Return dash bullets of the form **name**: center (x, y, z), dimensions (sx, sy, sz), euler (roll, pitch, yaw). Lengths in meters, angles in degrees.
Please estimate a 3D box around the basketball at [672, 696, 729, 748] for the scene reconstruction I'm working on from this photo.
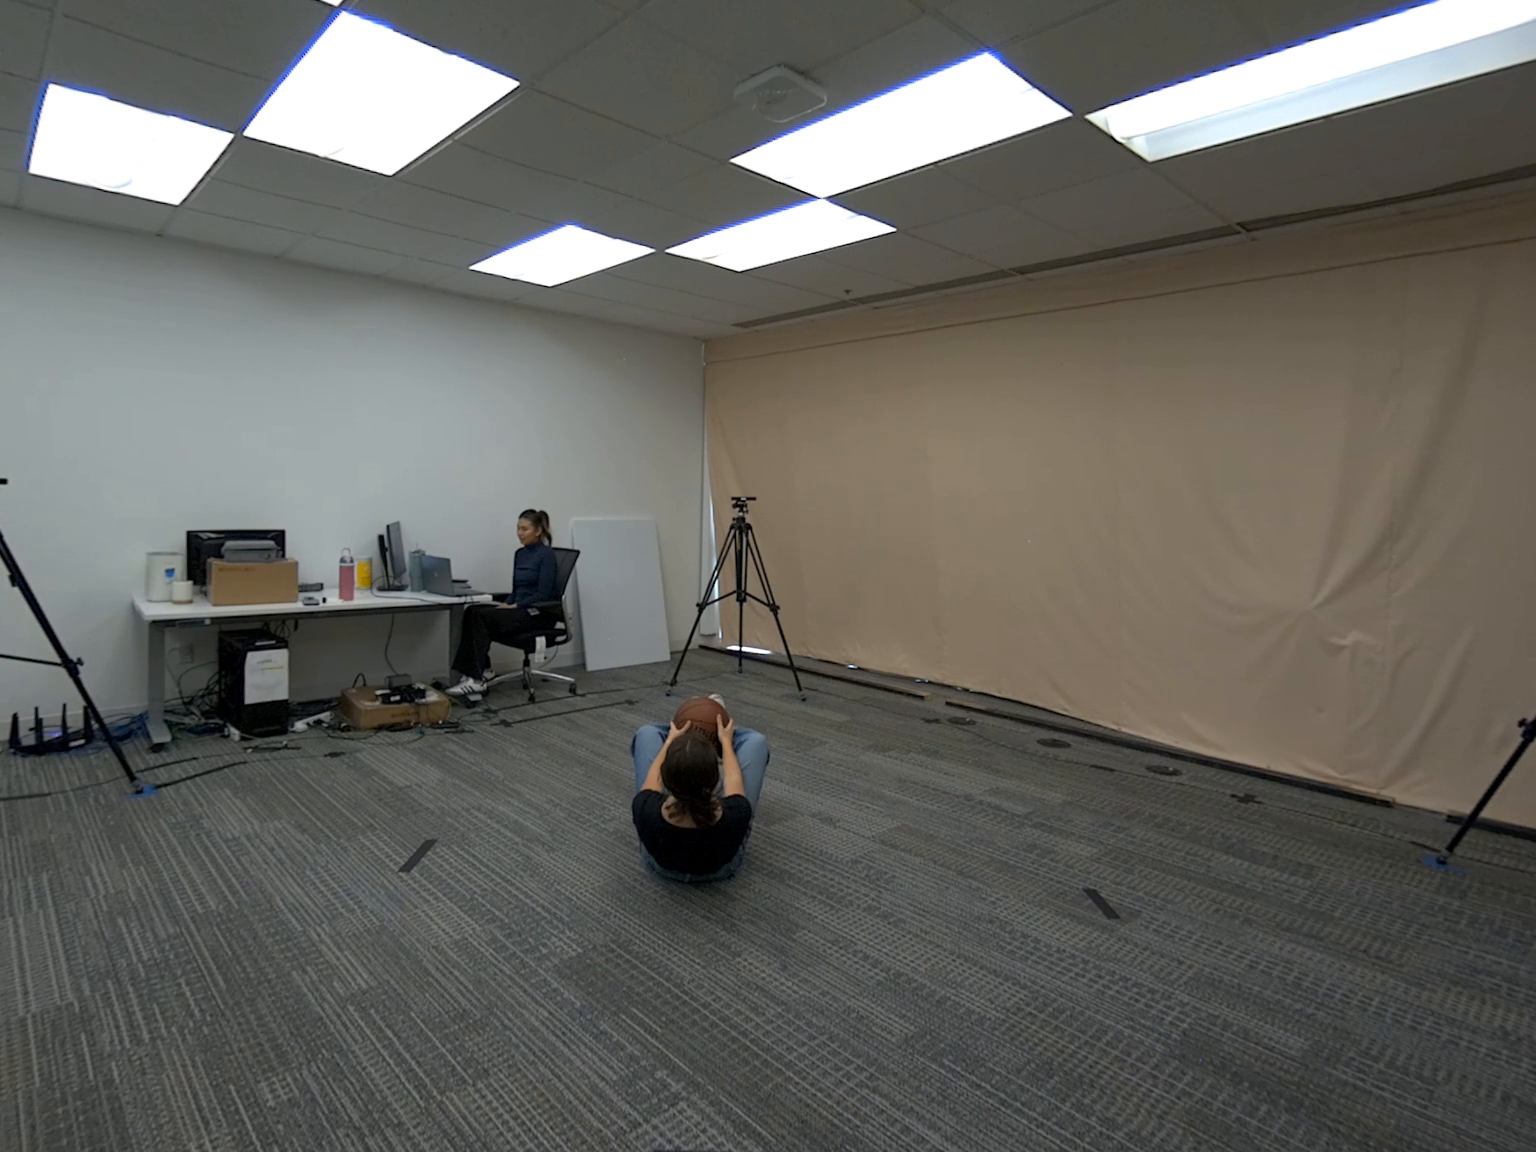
- **basketball**: center (-0.285, 0.608, 3.470), dimensions (0.236, 0.235, 0.237), euler (1, 4, -1)
